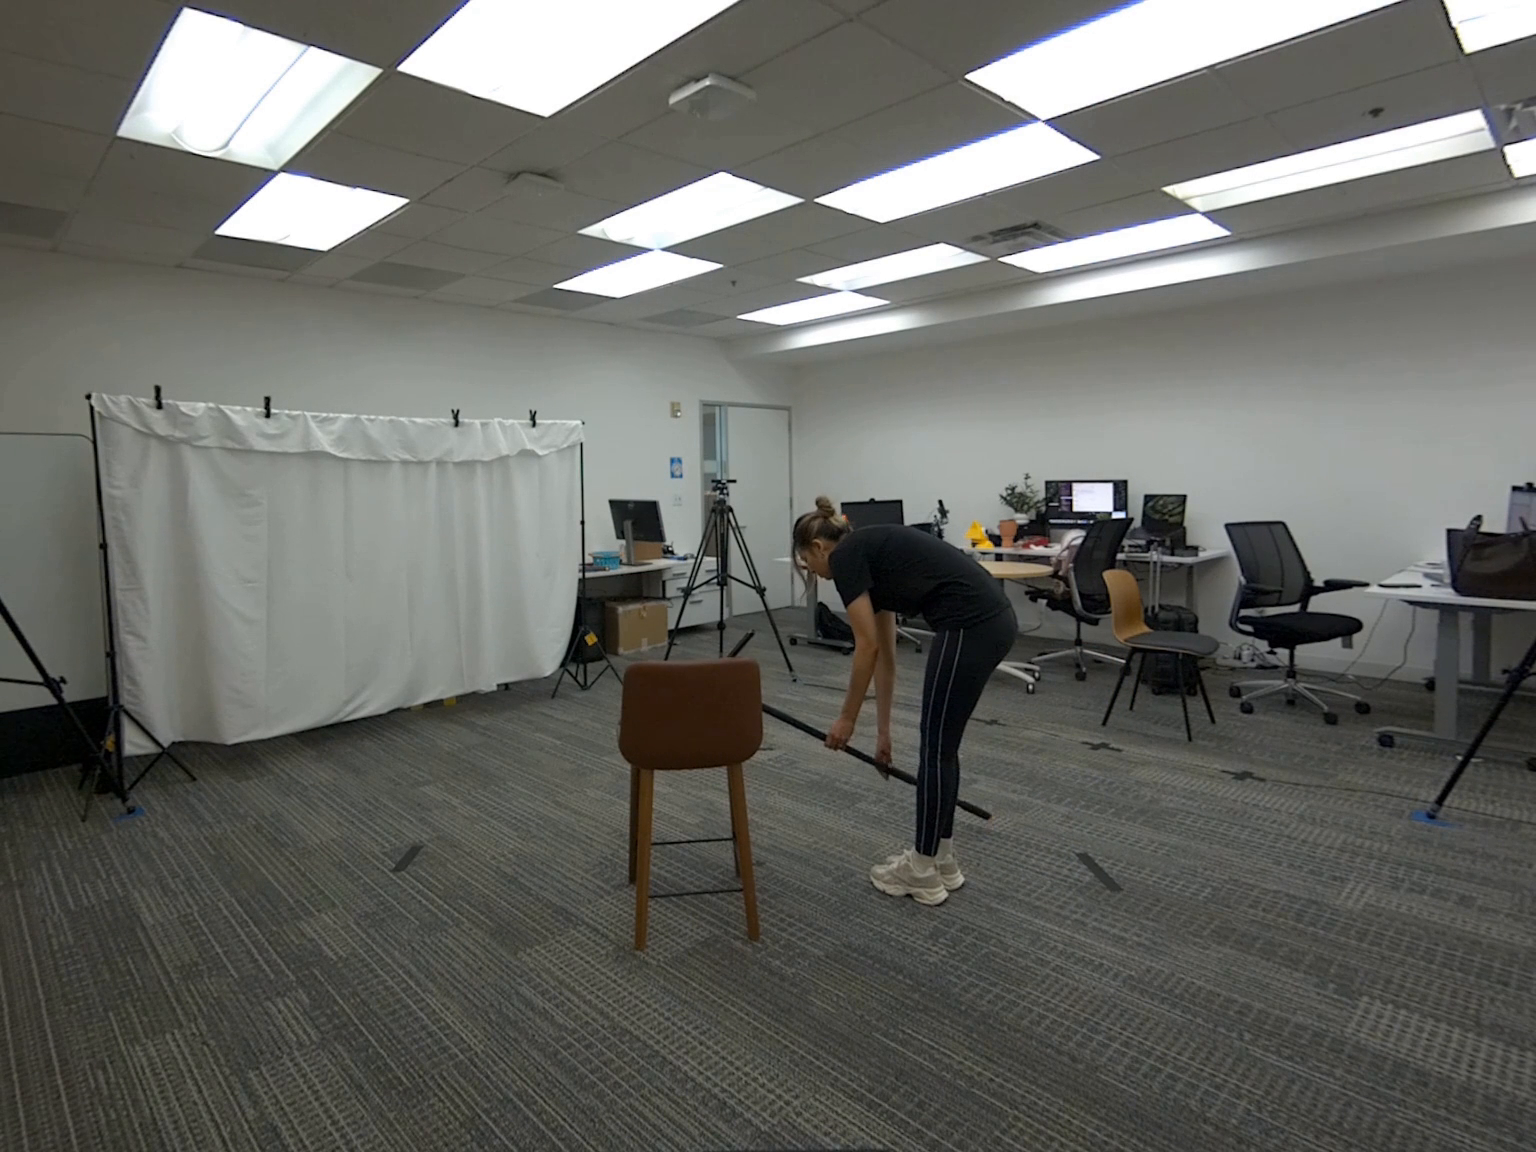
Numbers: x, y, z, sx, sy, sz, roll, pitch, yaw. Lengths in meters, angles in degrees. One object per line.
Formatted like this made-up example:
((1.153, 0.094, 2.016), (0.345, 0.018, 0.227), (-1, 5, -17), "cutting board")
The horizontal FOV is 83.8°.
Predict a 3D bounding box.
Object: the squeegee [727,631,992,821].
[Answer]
((0.334, 0.621, 2.994), (1.484, 0.437, 0.055), (31, 10, -33), "squeegee")
